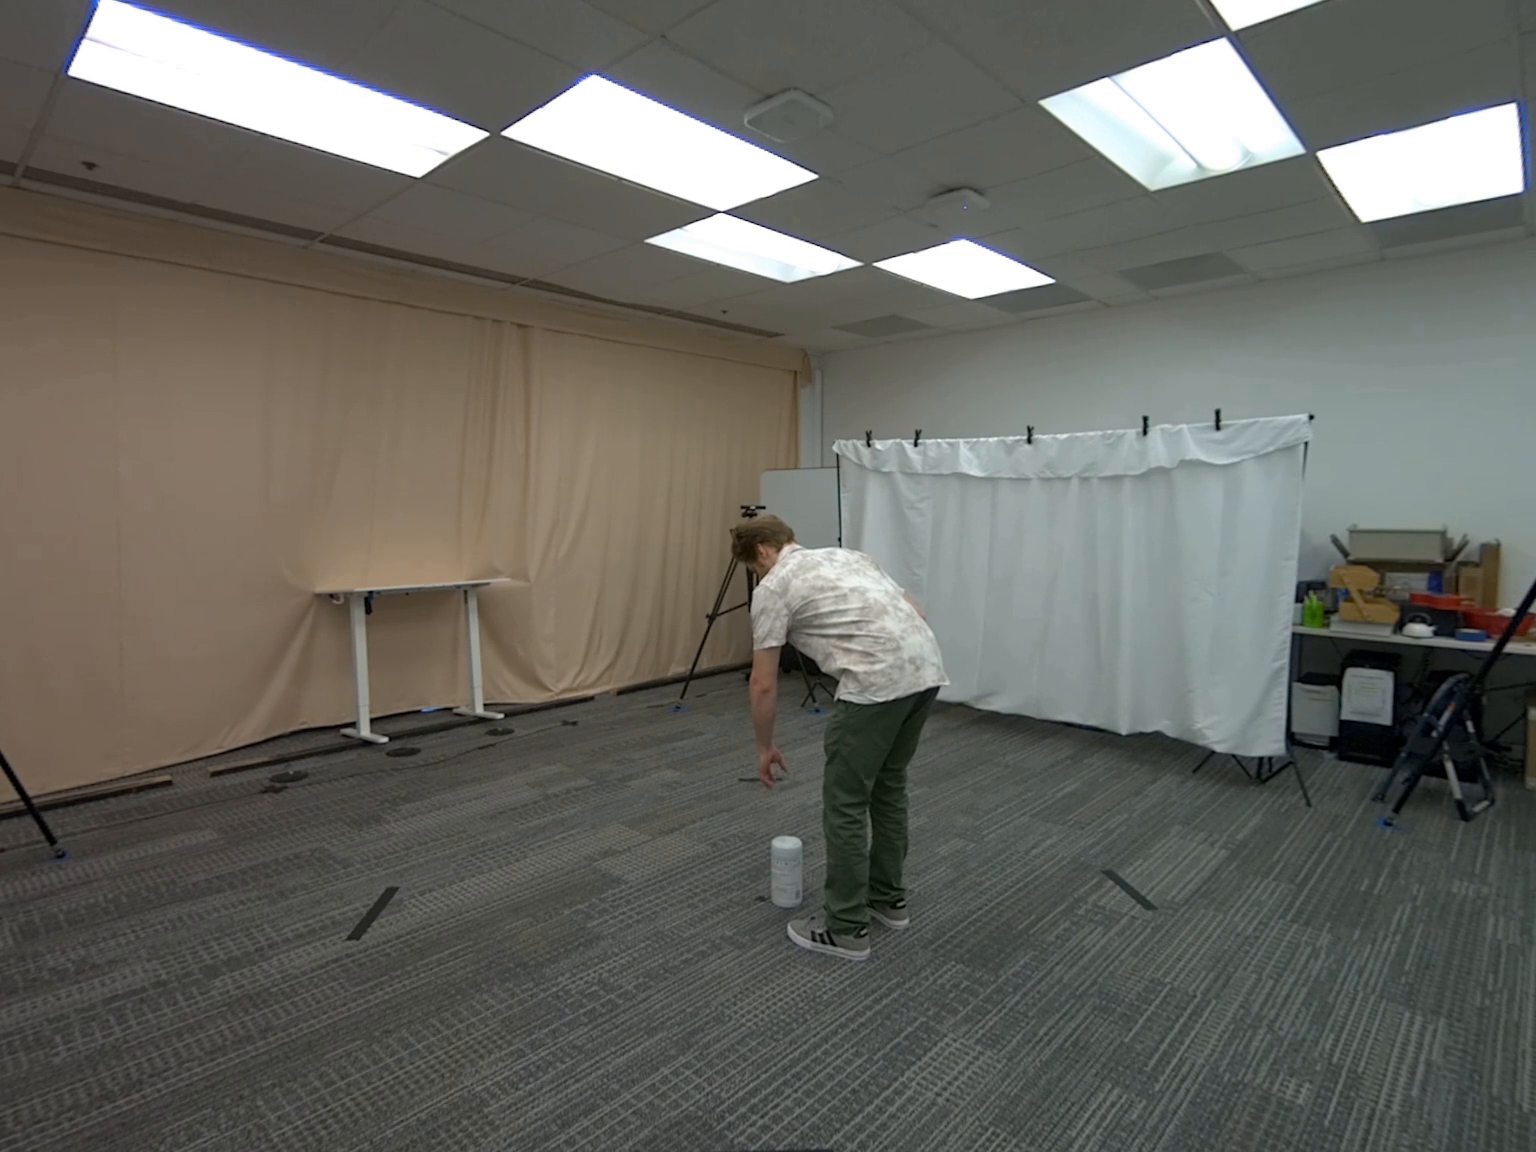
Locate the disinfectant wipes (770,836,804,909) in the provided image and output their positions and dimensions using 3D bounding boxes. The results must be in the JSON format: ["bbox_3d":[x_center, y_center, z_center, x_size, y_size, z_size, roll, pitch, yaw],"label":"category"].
[{"bbox_3d":[0.071,1.041,2.955,0.118,0.217,0.118,0,4,-2],"label":"disinfectant wipes"}]
